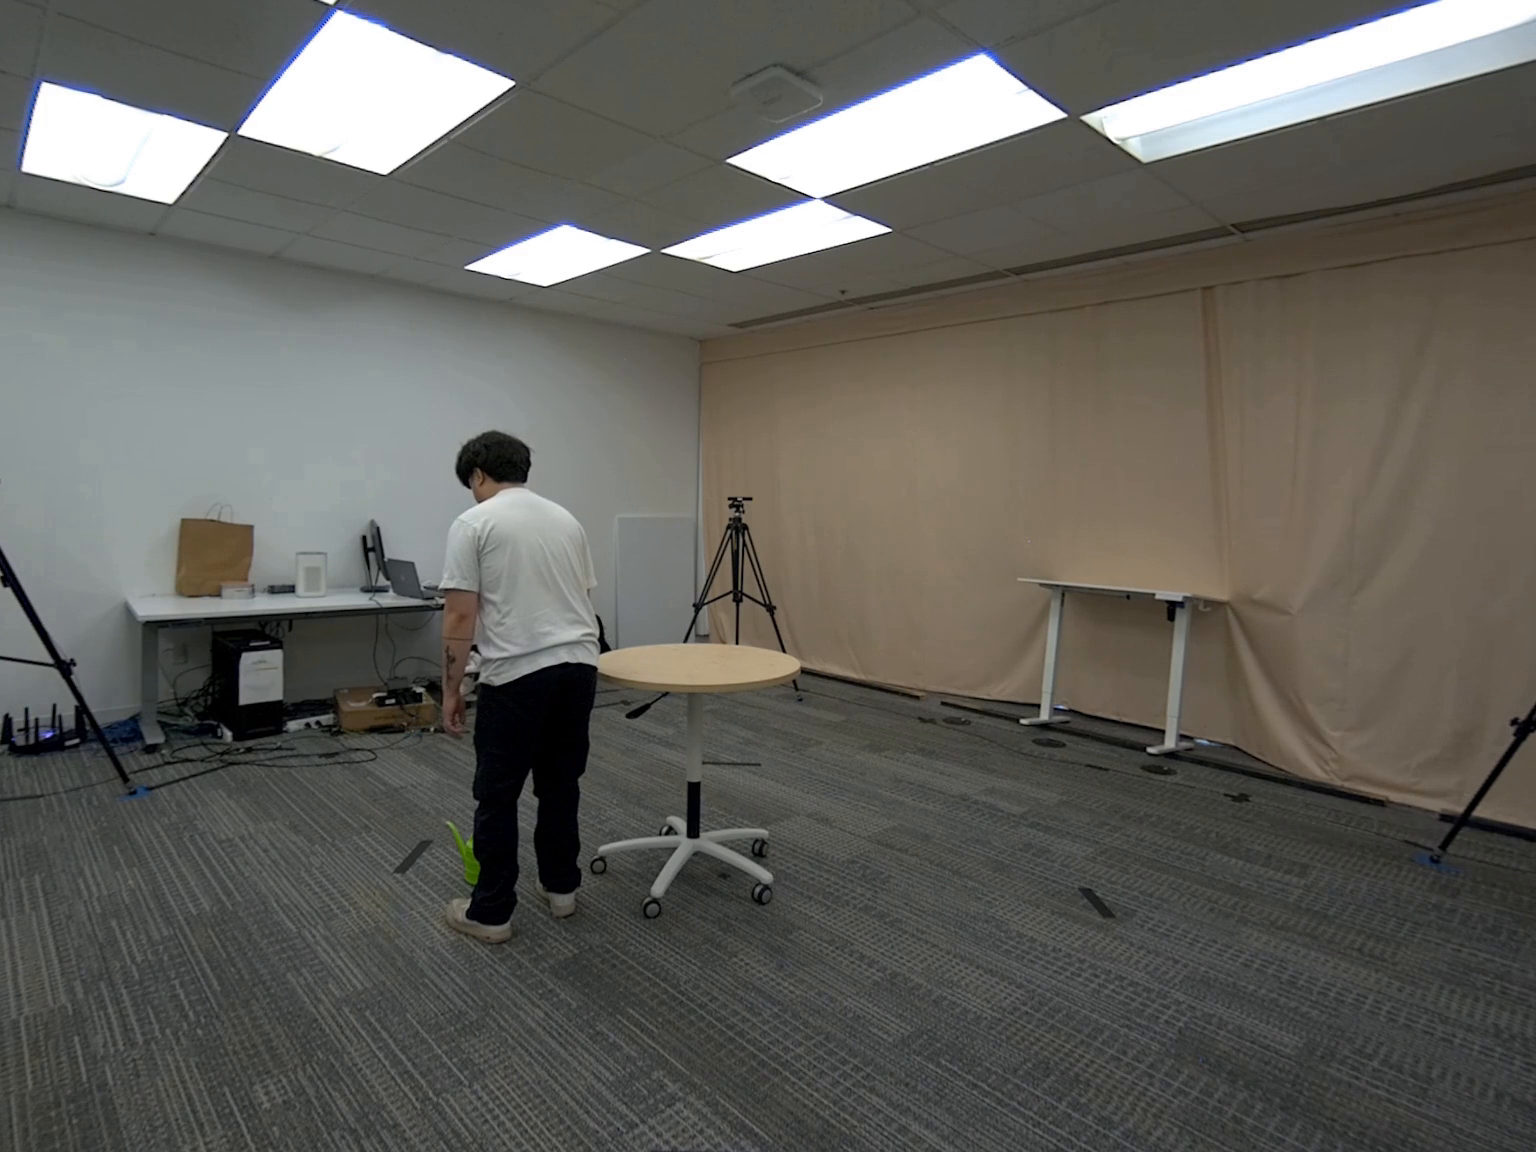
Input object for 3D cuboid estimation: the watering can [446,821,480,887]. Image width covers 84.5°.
[{"bbox_3d":[-1.079,1.009,3.047,0.285,0.176,0.096,8,7,40],"label":"watering can"}]
